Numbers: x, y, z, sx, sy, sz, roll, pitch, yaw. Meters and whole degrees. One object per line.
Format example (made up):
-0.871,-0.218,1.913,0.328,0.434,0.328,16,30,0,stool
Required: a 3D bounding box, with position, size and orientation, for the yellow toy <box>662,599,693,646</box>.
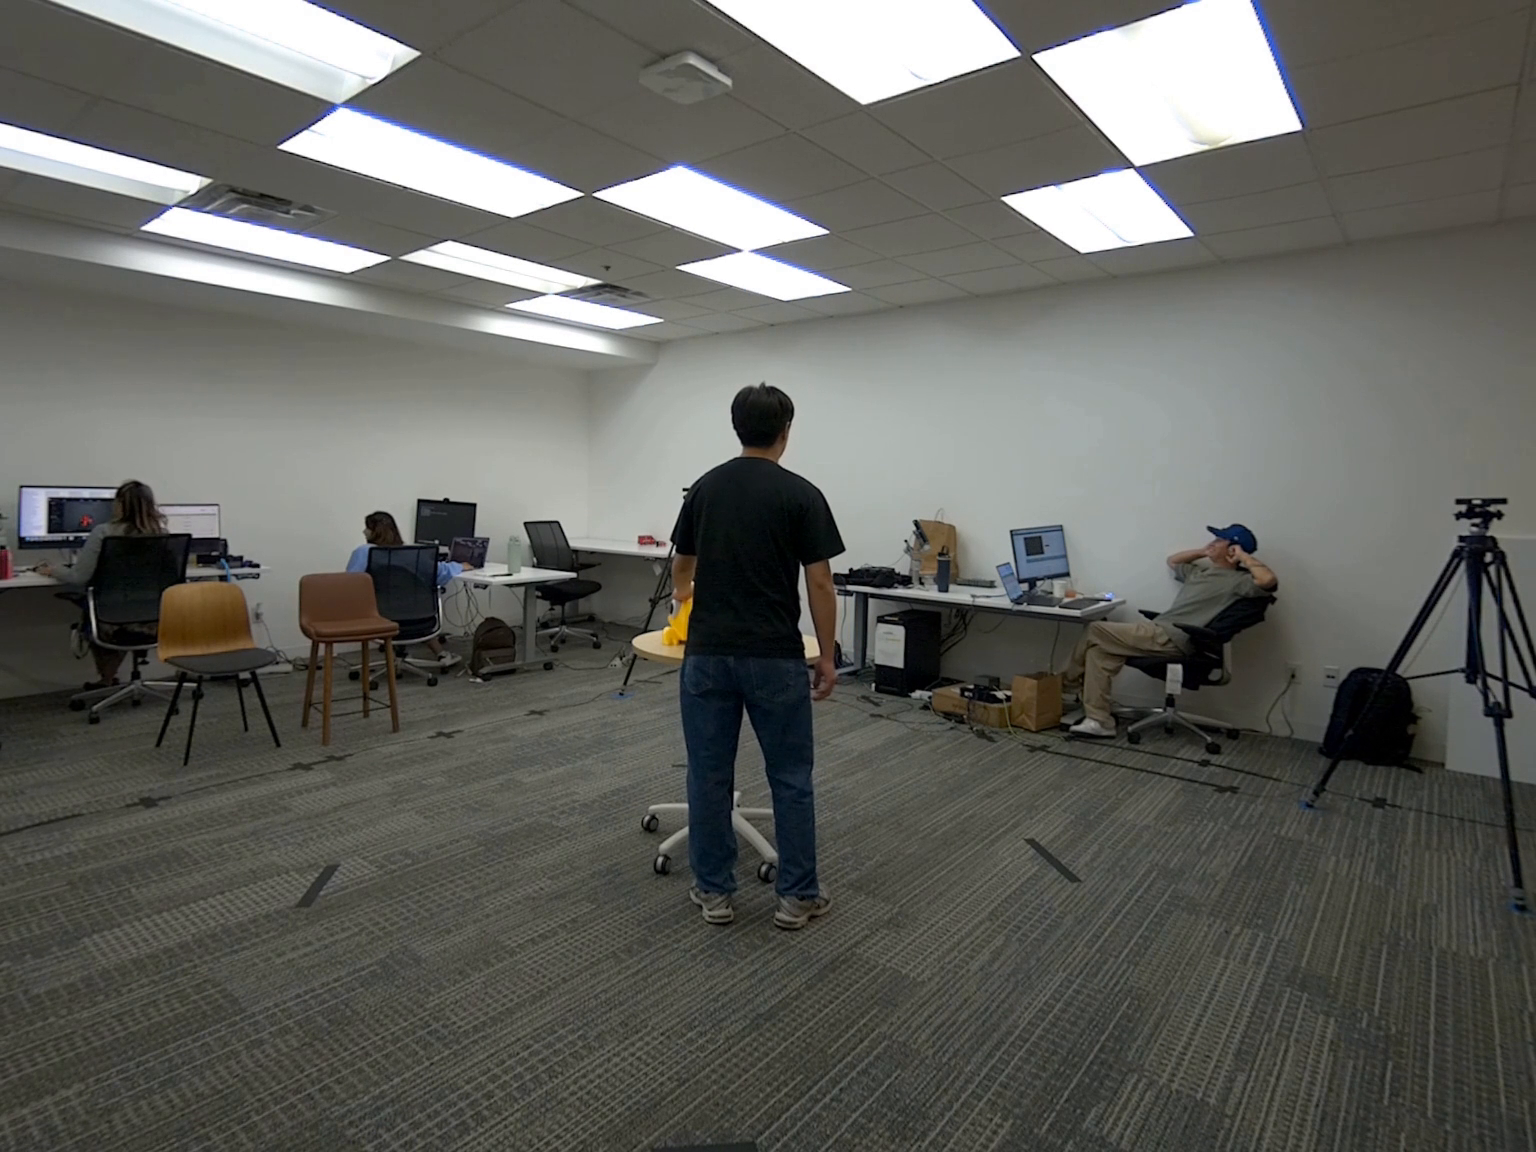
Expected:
-0.316,0.140,3.280,0.207,0.230,0.192,0,5,8,yellow toy
